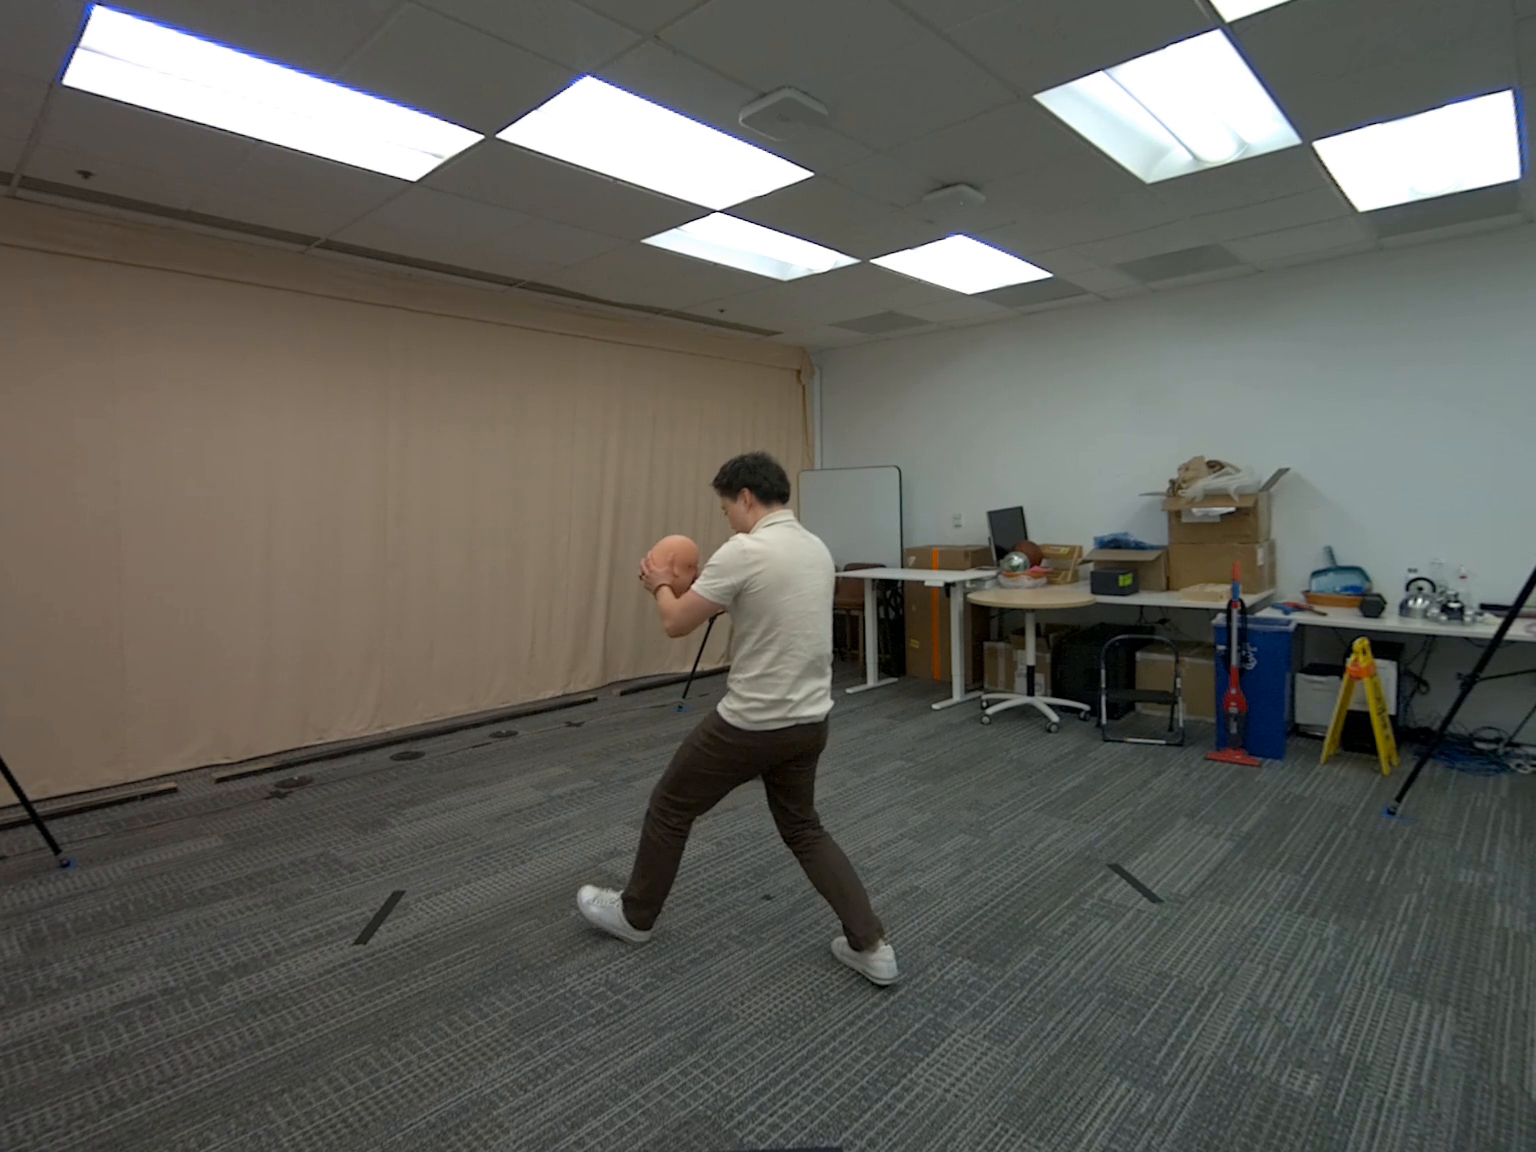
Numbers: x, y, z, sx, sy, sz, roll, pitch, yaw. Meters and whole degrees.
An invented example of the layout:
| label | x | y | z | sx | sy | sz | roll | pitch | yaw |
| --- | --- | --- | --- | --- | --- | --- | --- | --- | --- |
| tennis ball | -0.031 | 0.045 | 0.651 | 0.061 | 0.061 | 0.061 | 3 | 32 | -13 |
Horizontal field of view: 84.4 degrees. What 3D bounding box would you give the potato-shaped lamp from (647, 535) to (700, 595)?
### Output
| label | x | y | z | sx | sy | sz | roll | pitch | yaw |
| --- | --- | --- | --- | --- | --- | --- | --- | --- | --- |
| potato-shaped lamp | -0.308 | -0.014 | 2.756 | 0.175 | 0.198 | 0.161 | 26 | 5 | 15 |
